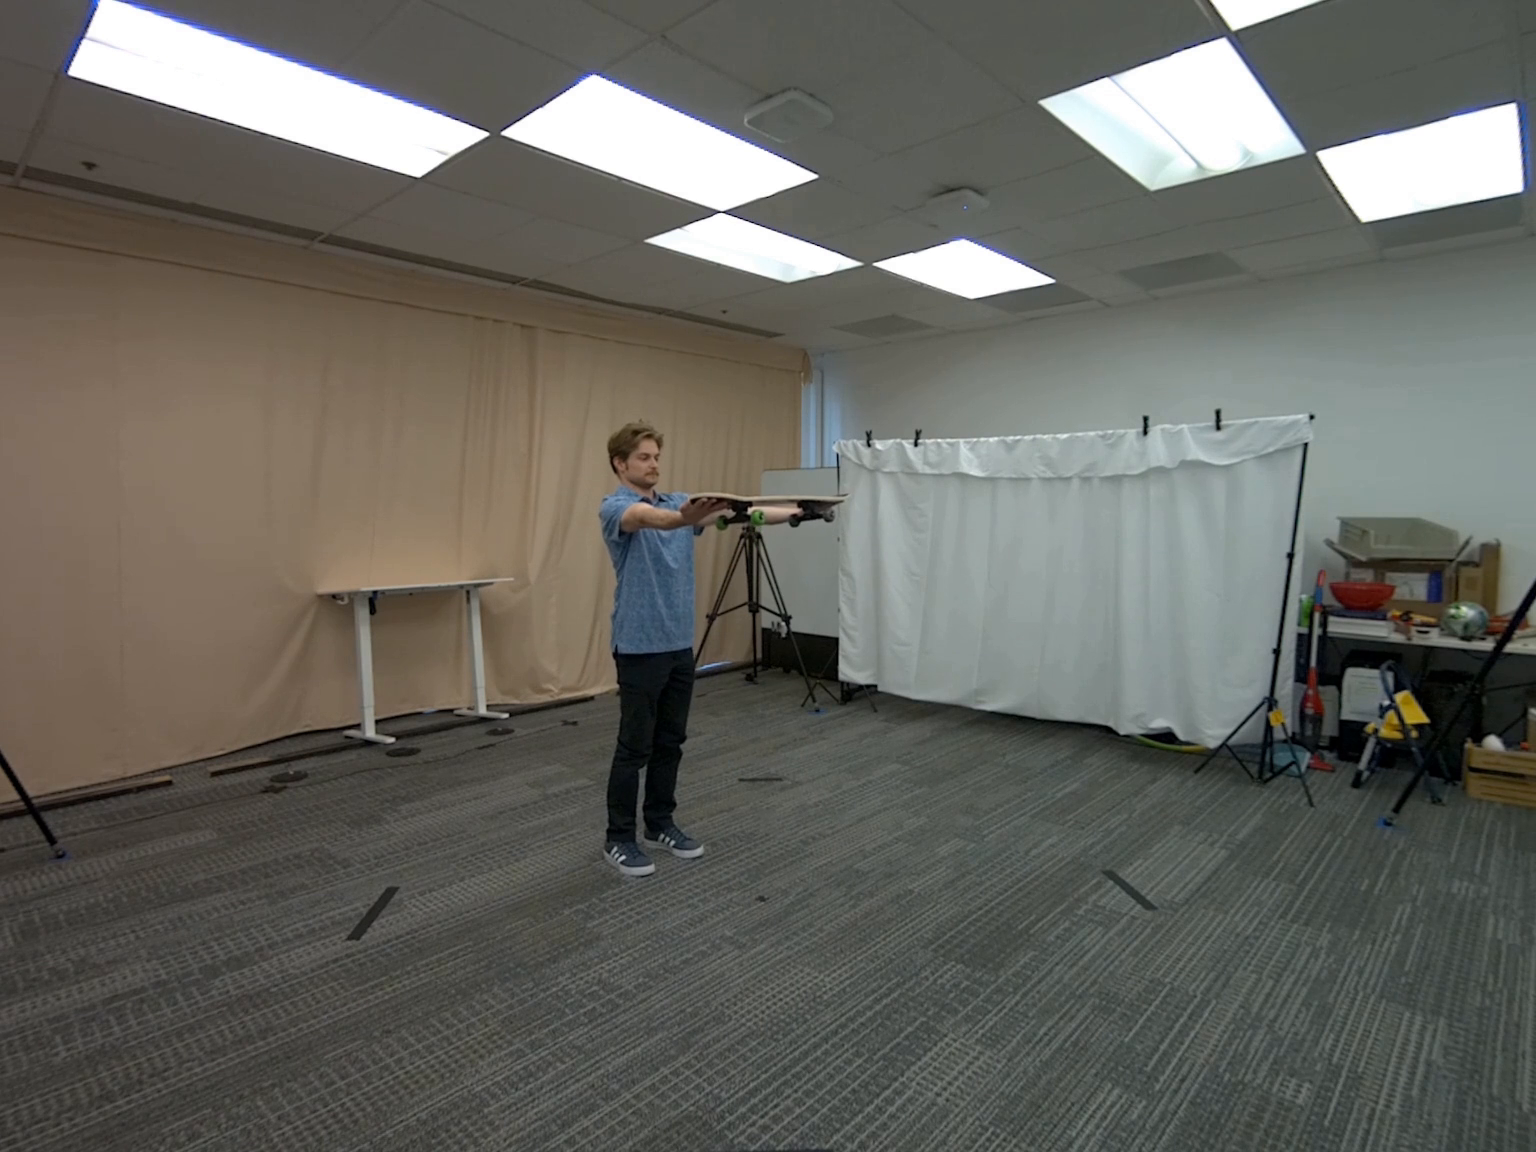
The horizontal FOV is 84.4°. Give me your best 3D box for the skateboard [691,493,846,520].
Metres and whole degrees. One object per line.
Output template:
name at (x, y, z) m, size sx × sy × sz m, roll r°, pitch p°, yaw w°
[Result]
skateboard at (0.015, -0.214, 2.891) m, size 0.199 × 0.110 × 0.762 m, roll -11°, pitch -2°, yaw 40°
